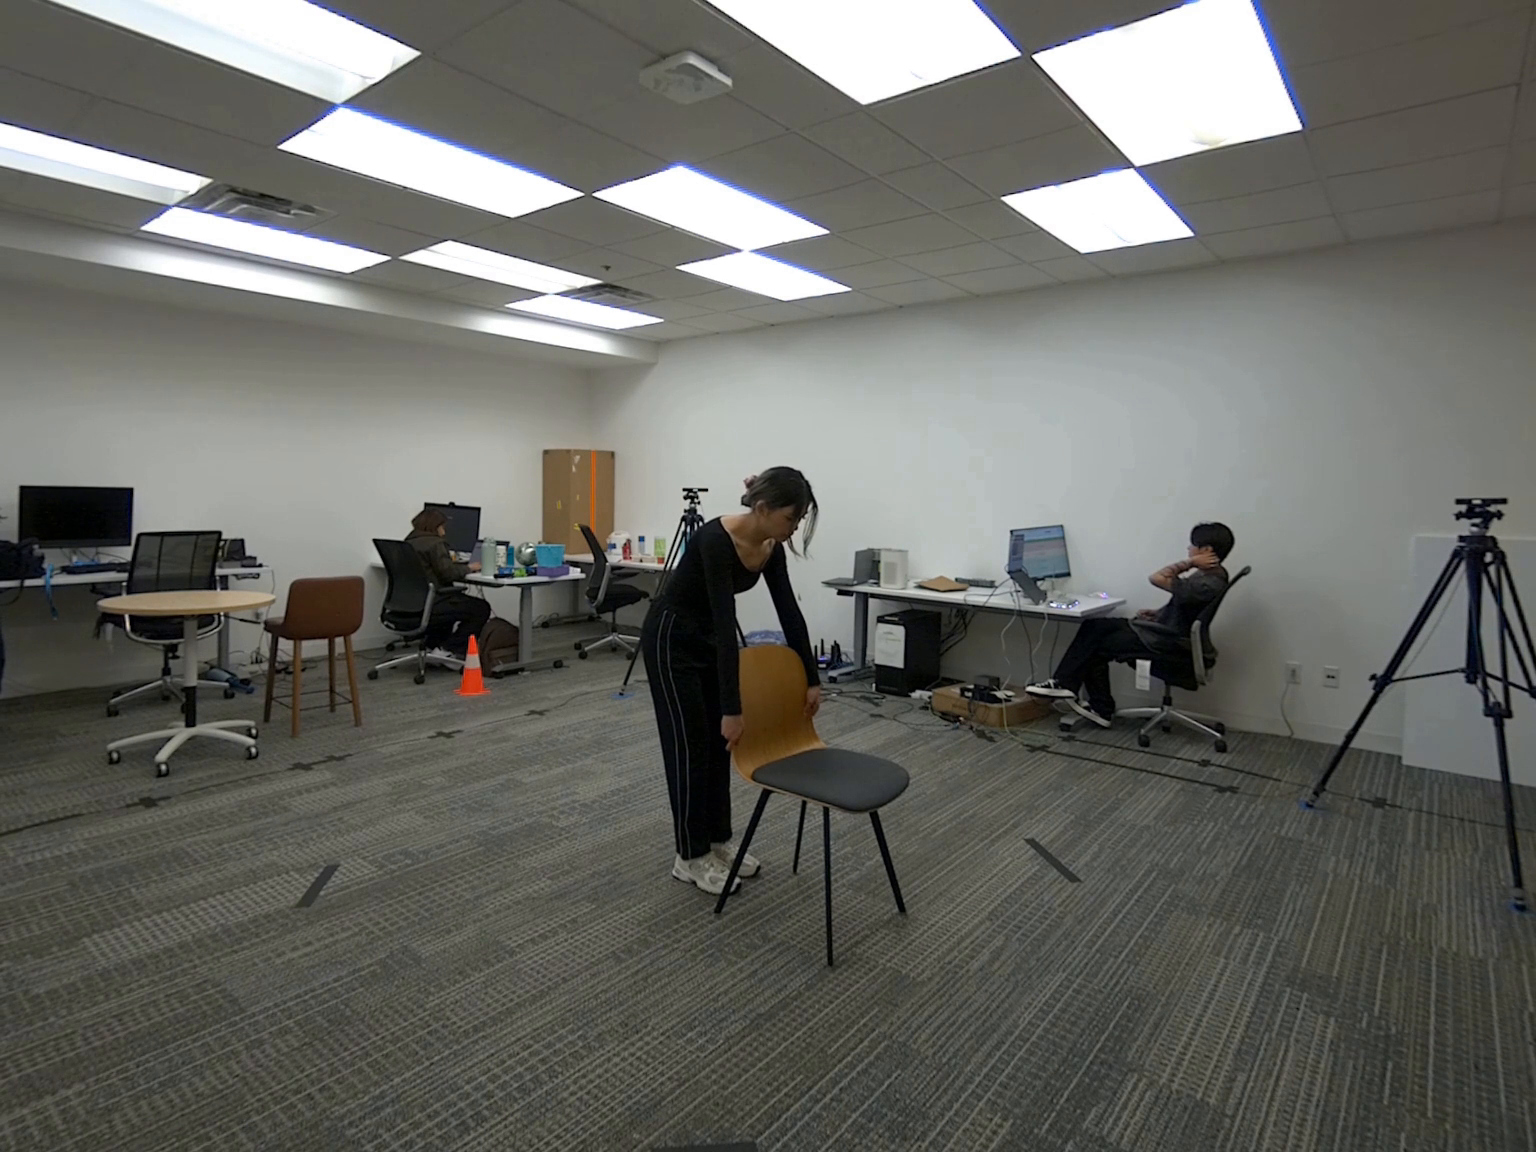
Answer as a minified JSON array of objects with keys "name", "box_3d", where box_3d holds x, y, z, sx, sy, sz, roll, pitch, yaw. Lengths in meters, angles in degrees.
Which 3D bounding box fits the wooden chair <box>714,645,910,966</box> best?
[{"name":"wooden chair","box_3d":[0.157,0.680,2.768,0.539,0.878,0.463,-1,0,39]}]
